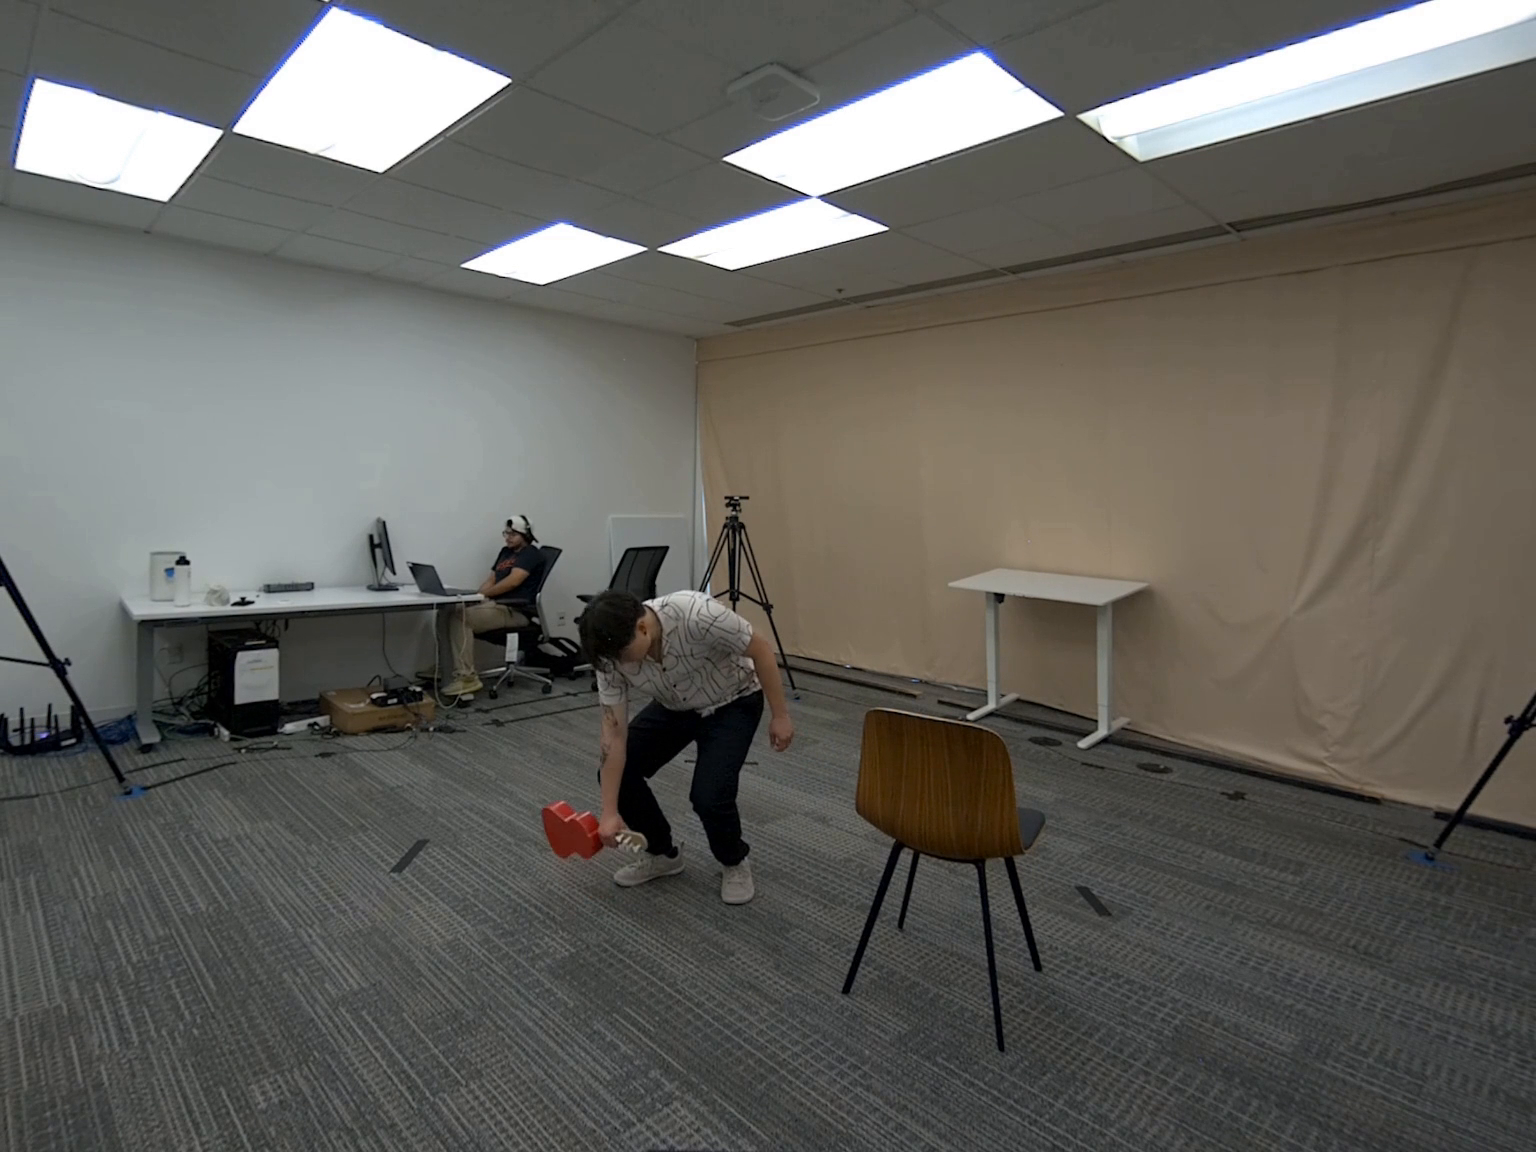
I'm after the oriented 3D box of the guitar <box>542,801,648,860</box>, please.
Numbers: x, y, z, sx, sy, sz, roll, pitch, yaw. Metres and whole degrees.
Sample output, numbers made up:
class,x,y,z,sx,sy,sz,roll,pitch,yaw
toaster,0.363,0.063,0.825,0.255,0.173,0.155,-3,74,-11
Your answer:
class,x,y,z,sx,sy,sz,roll,pitch,yaw
guitar,-0.600,0.847,2.858,0.505,0.193,0.069,-19,0,44
